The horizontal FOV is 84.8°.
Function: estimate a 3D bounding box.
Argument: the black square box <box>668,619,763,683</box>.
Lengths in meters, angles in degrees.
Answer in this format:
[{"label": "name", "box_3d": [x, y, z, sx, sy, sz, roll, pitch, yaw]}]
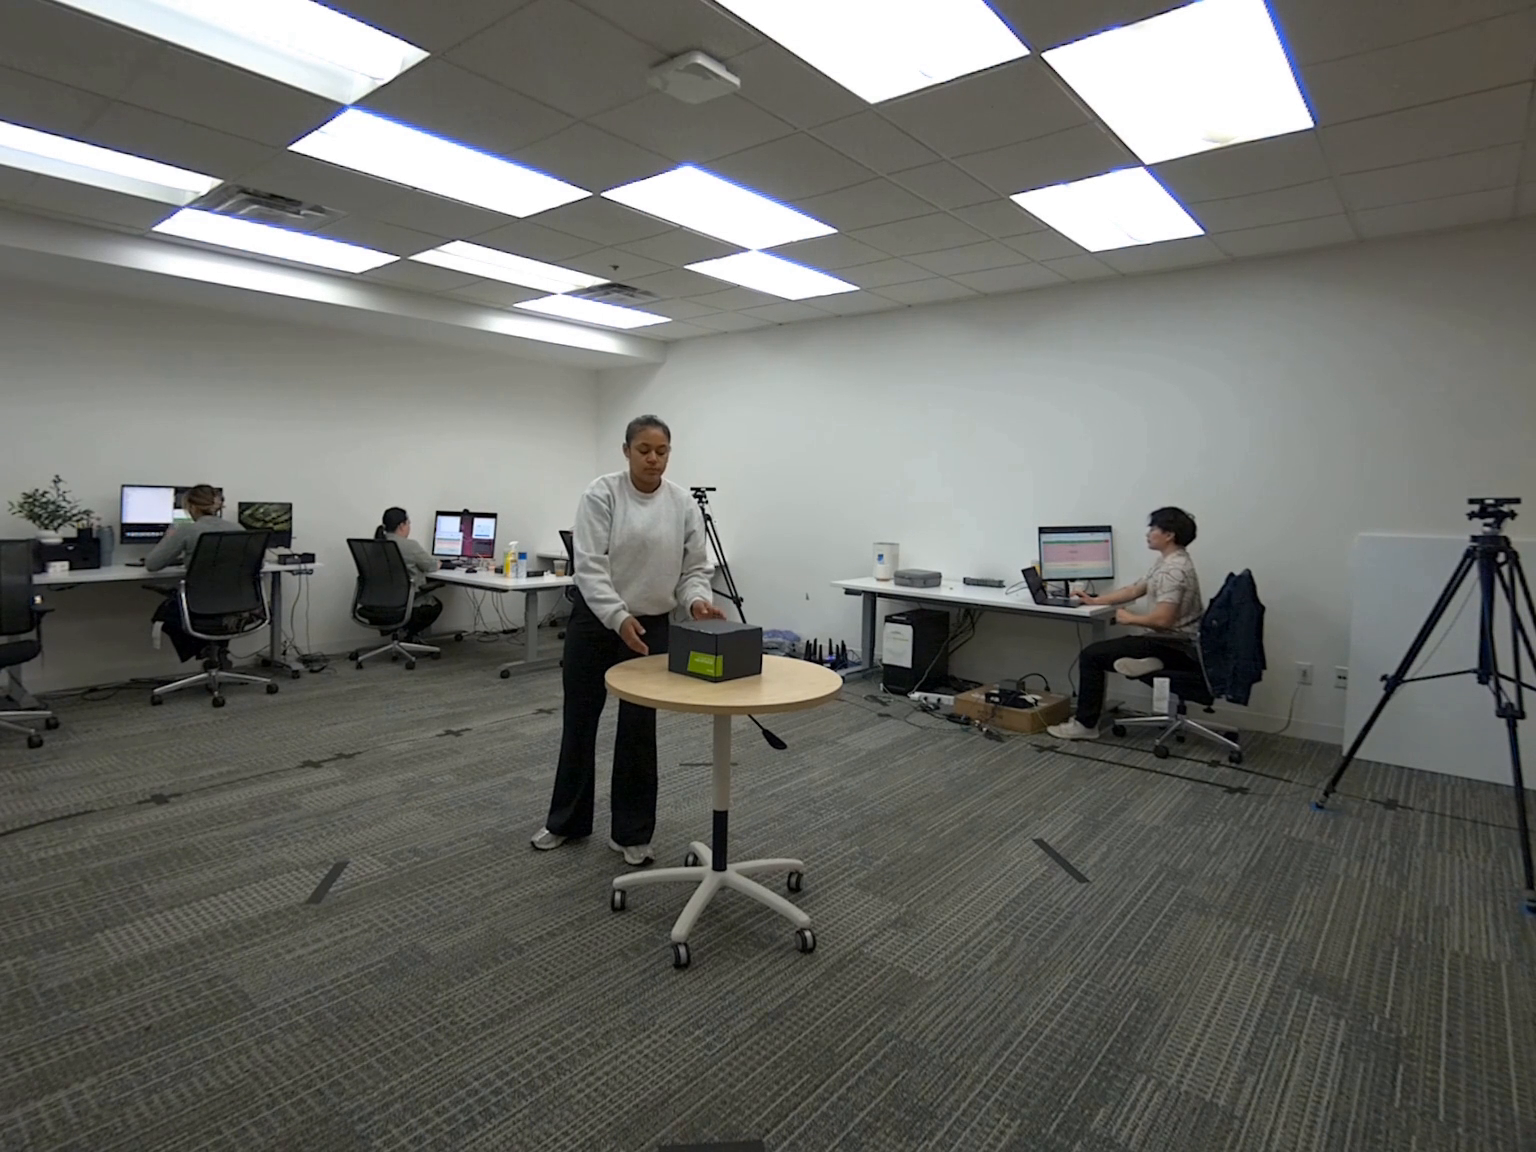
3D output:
[{"label": "black square box", "box_3d": [-0.184, 0.234, 2.788, 0.236, 0.155, 0.210, 7, 8, 44]}]
